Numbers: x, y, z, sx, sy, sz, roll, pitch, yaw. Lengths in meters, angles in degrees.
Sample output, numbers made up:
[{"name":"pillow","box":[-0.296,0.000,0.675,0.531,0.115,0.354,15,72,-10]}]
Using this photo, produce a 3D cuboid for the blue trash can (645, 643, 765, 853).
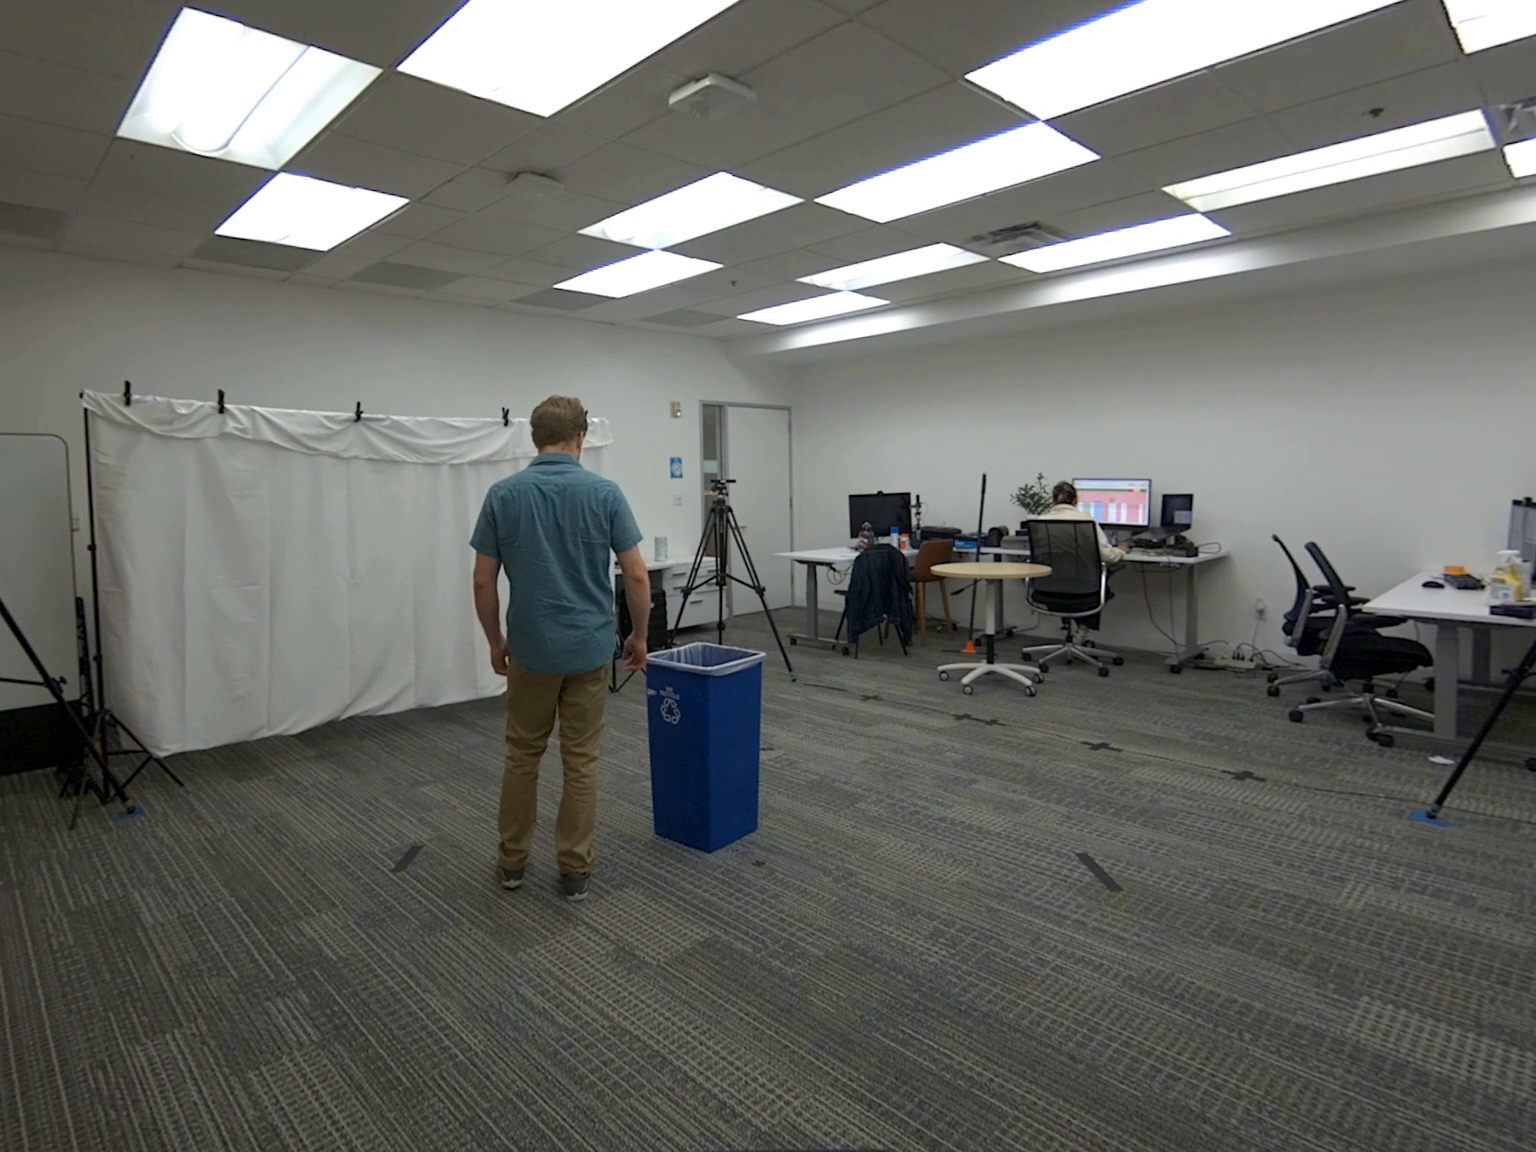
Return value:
[{"name":"blue trash can","box":[-0.239,0.662,3.380,0.385,0.711,0.368,3,5,39]}]
